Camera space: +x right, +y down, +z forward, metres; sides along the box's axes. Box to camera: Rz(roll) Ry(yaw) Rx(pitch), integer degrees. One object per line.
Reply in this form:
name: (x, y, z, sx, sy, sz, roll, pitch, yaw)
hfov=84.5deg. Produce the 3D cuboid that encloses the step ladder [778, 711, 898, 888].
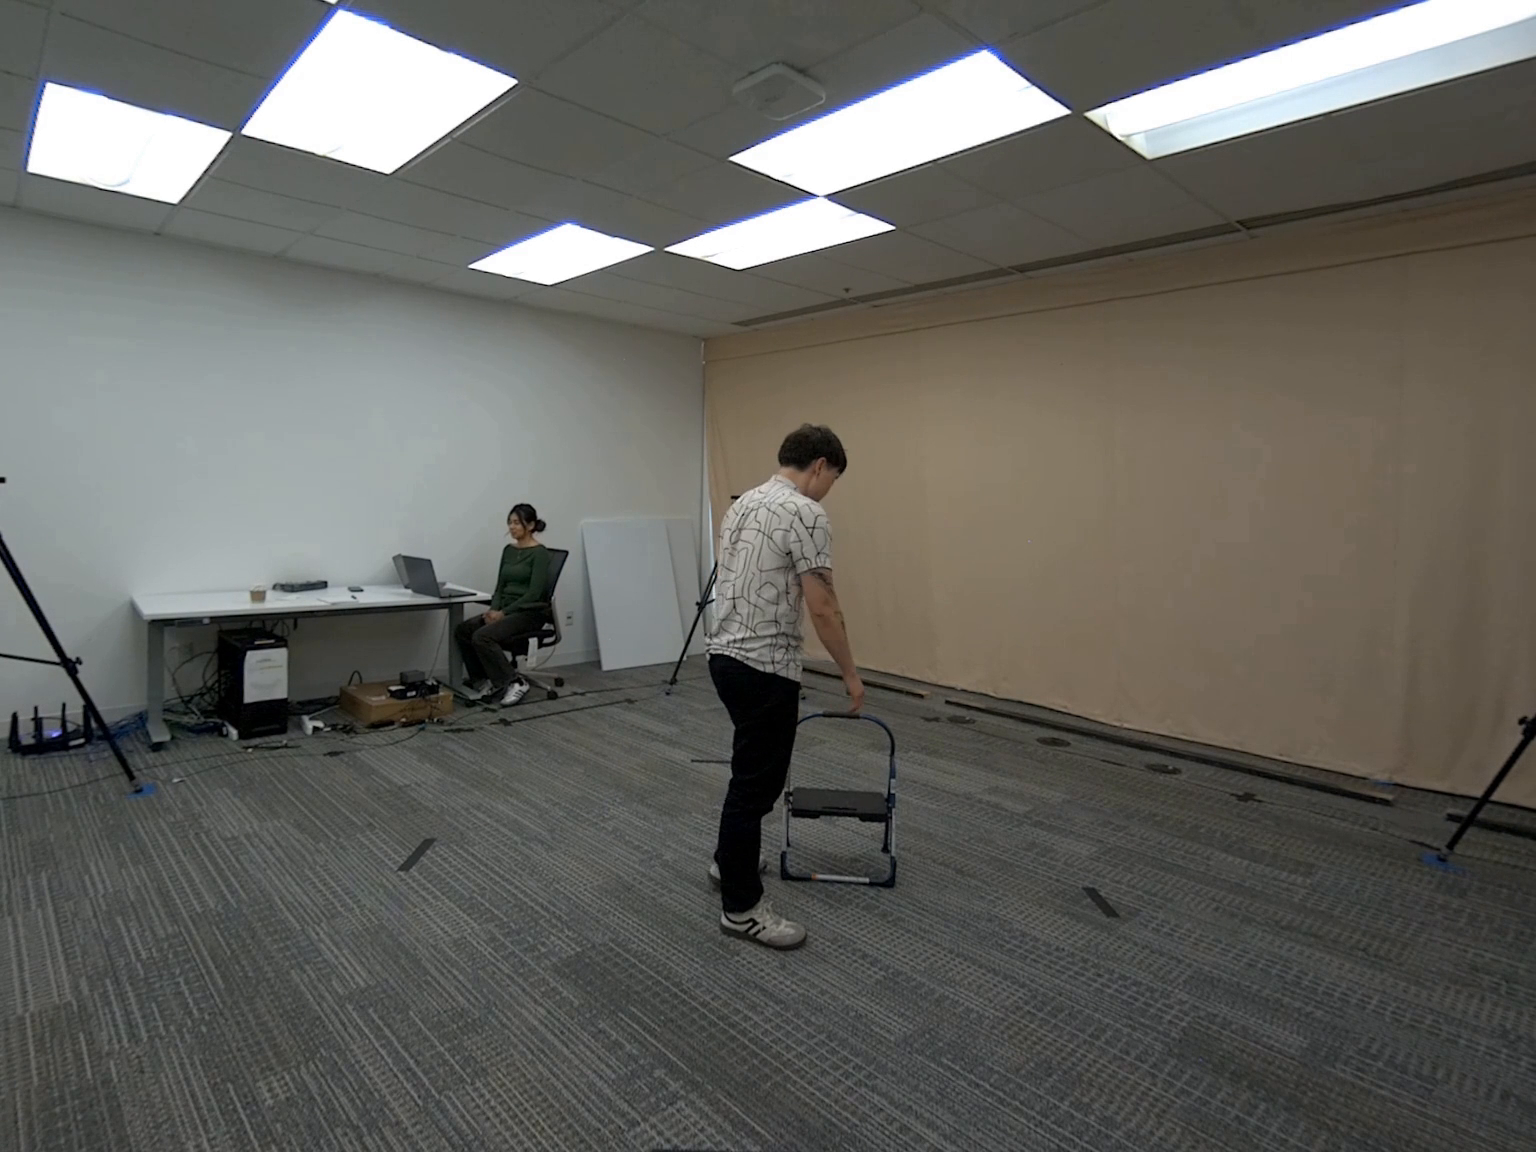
step ladder: (0.265, 0.802, 3.198, 0.432, 0.605, 0.348, 2, 3, 4)
